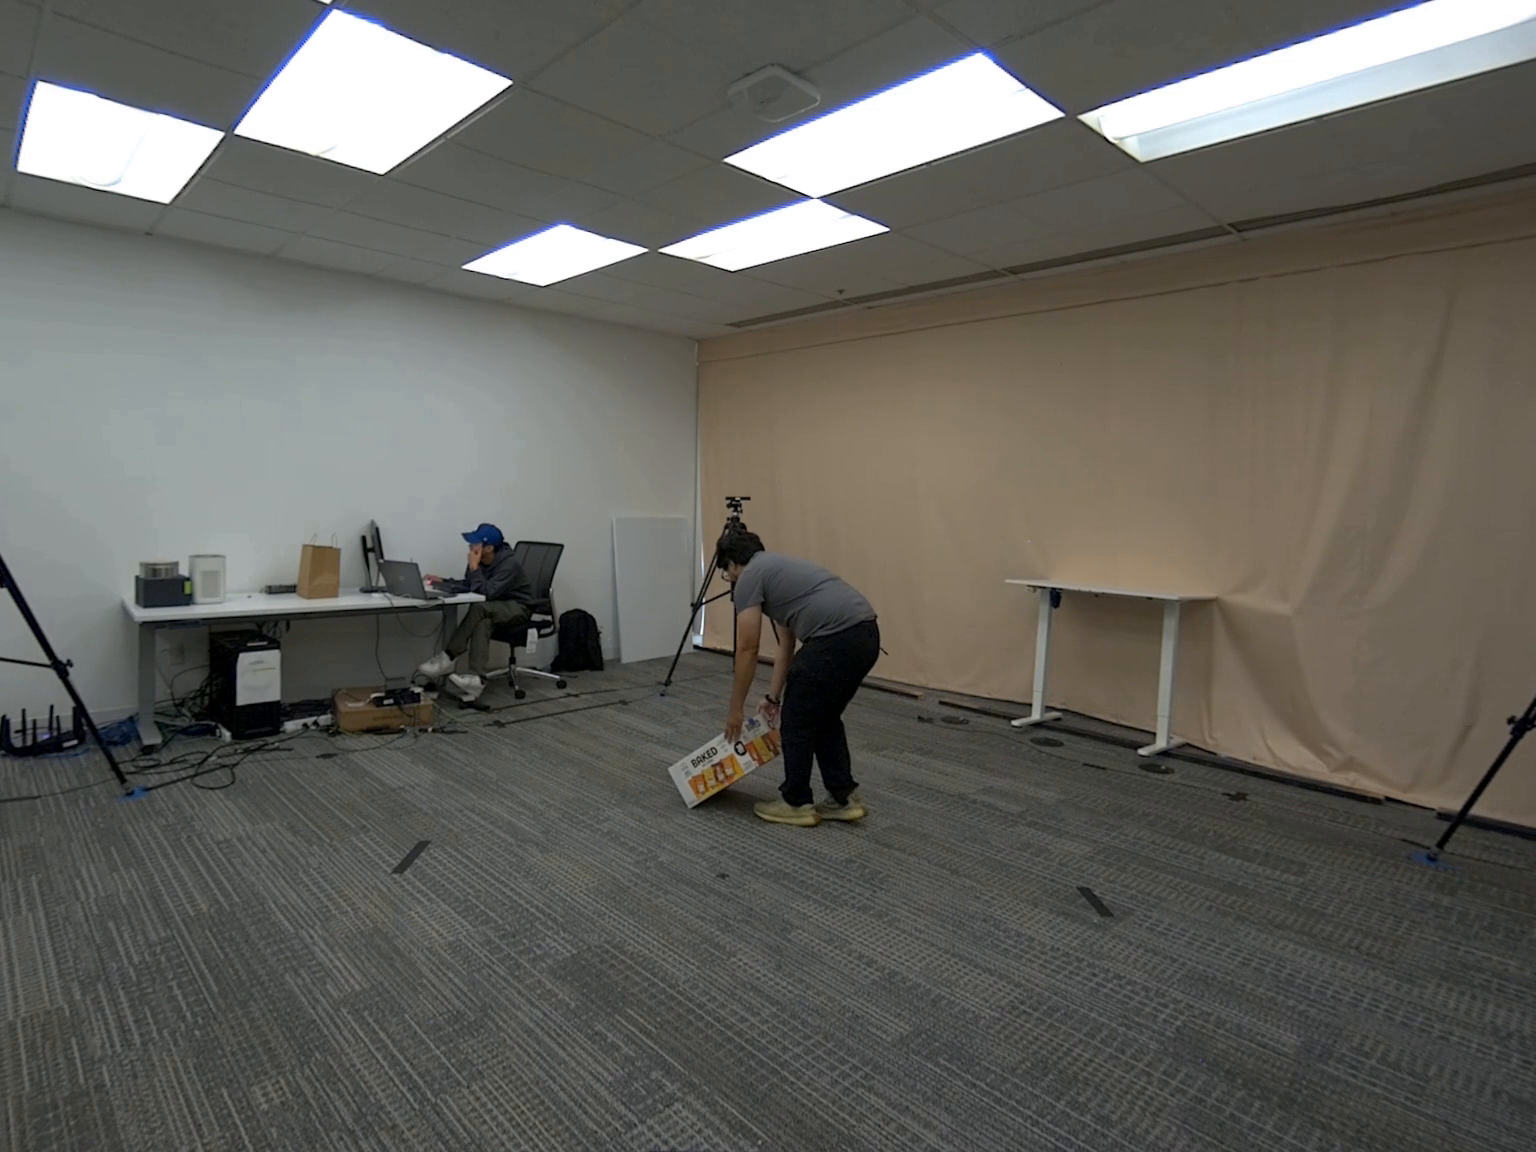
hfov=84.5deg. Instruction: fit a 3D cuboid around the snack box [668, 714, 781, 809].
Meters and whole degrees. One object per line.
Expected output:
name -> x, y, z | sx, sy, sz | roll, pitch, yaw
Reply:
snack box -> -0.185, 0.836, 3.866 | 0.407, 0.208, 0.334 | -36, -13, 23
